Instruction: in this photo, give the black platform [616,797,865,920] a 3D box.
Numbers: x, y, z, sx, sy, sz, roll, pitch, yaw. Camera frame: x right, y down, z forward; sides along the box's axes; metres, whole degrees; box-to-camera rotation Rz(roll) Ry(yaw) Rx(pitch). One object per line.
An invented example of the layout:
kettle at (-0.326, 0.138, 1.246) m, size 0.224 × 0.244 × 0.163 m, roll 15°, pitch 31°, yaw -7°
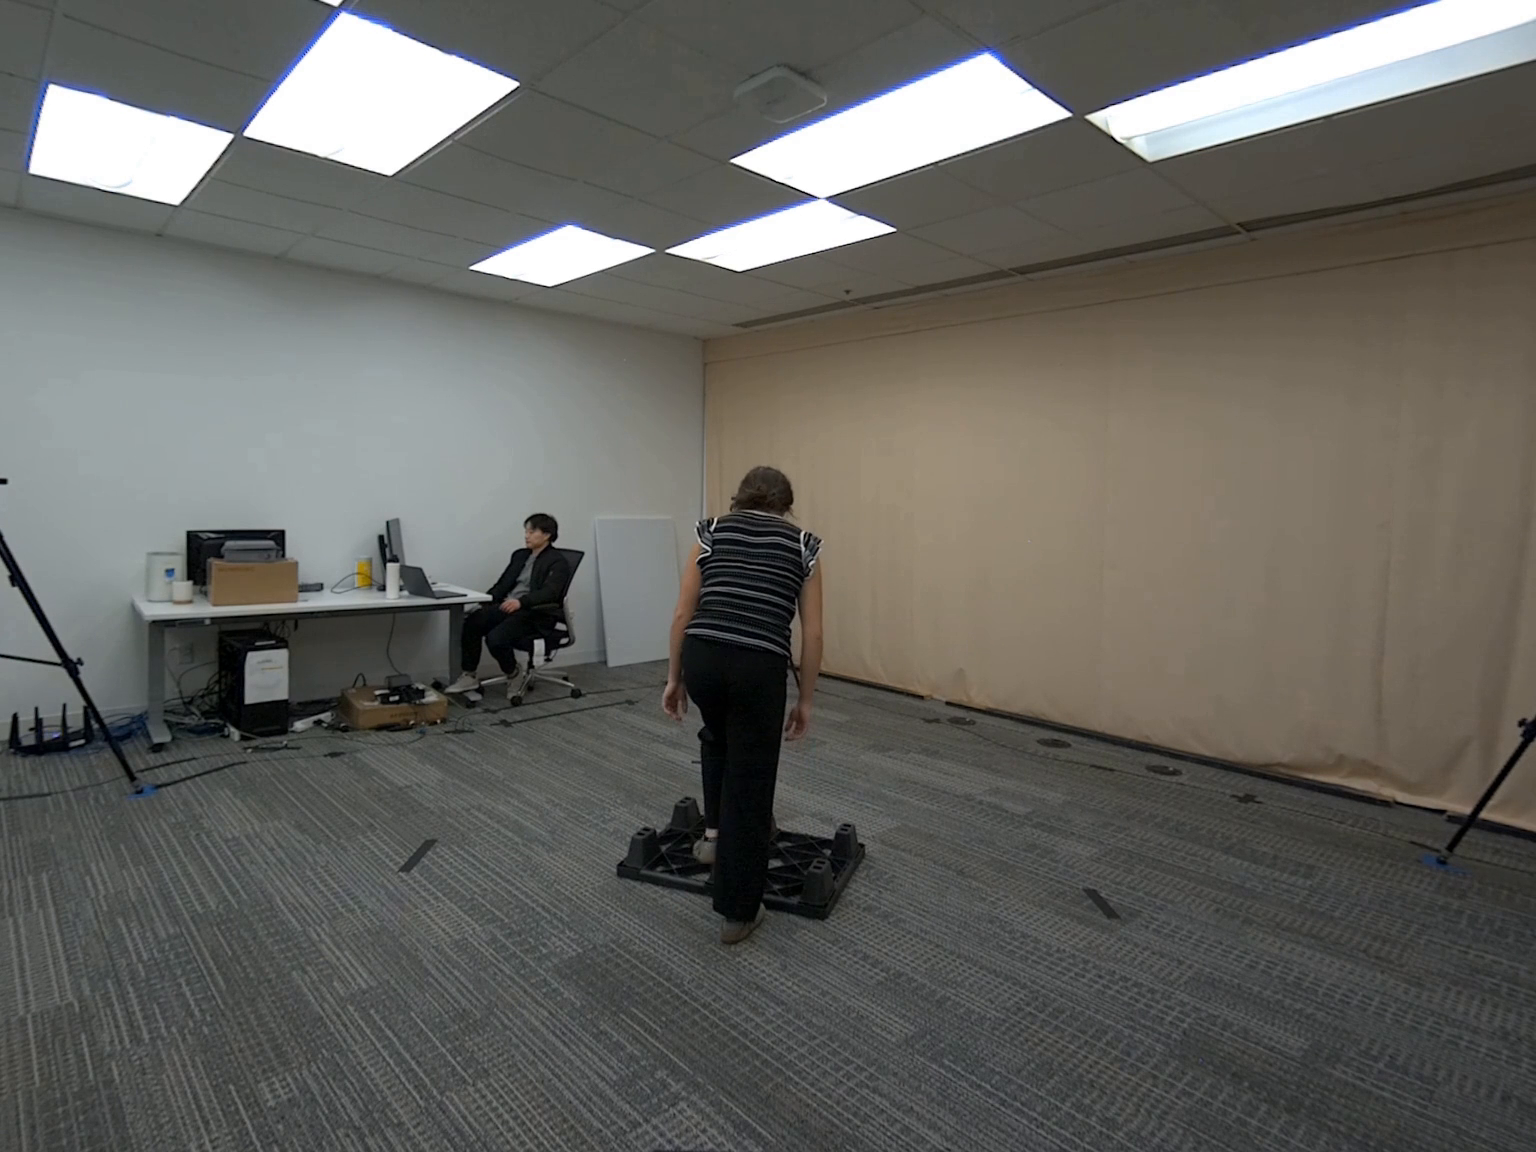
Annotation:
black platform at (-0.096, 1.032, 3.199) m, size 0.819 × 0.143 × 0.597 m, roll 3°, pitch 5°, yaw 21°
